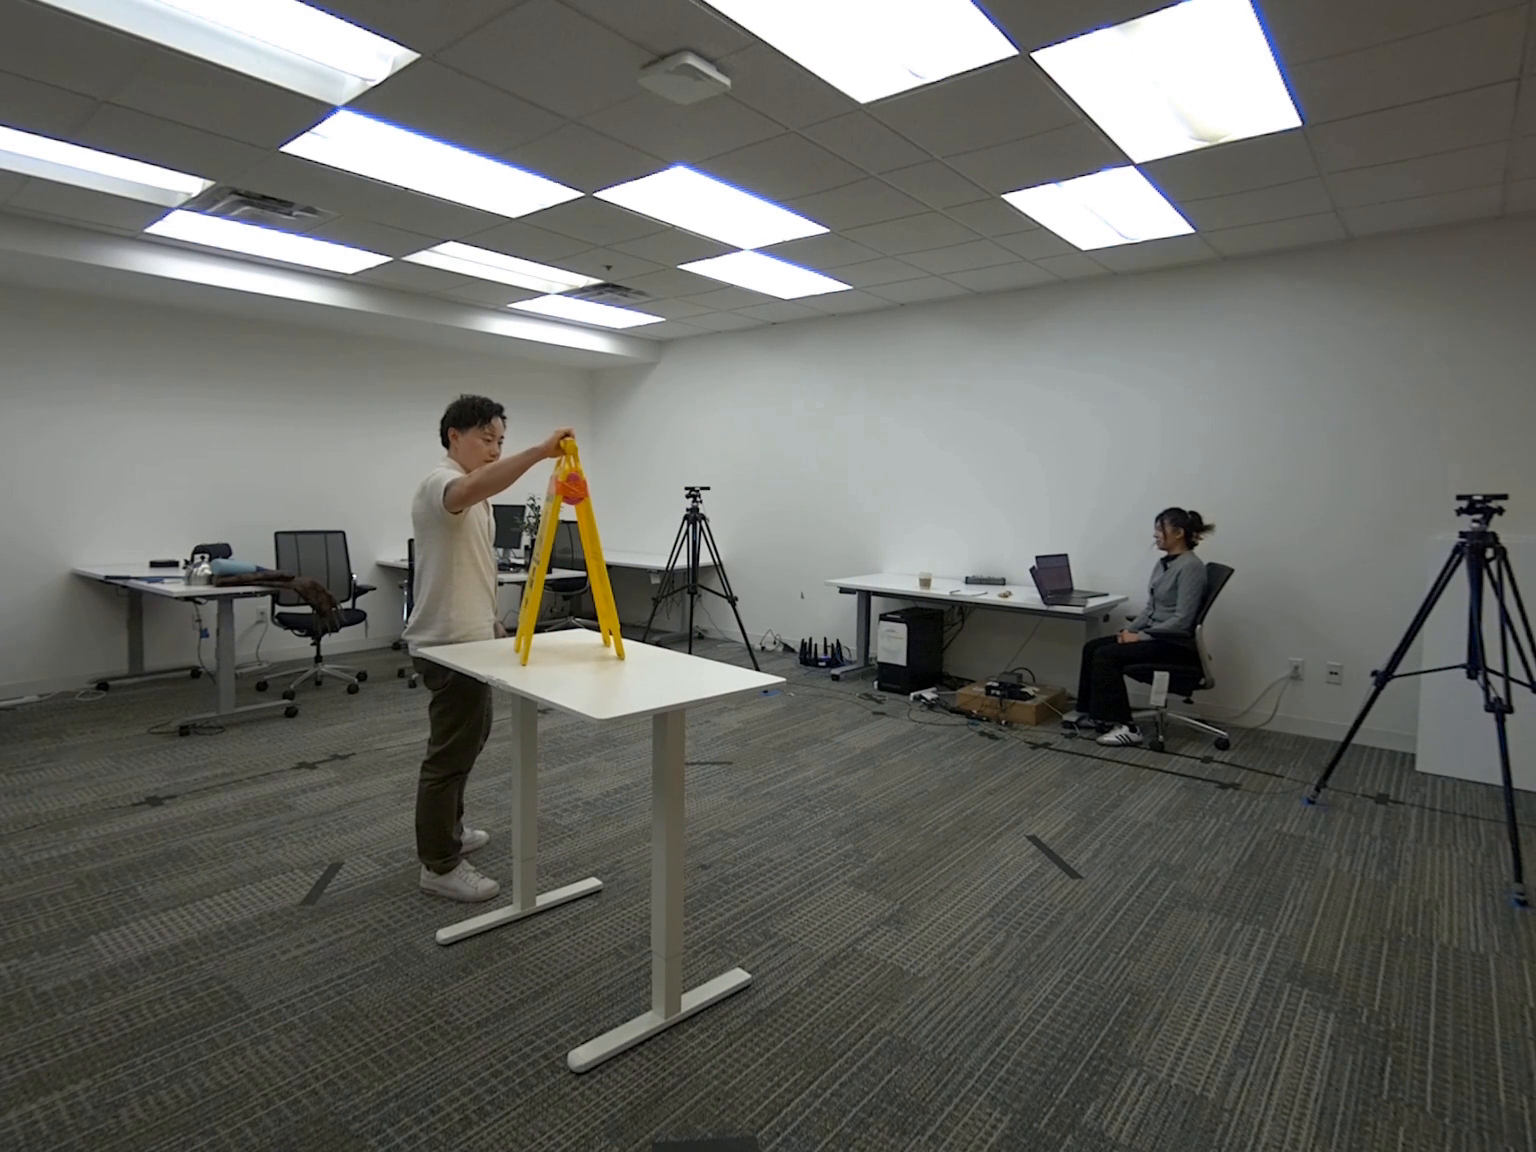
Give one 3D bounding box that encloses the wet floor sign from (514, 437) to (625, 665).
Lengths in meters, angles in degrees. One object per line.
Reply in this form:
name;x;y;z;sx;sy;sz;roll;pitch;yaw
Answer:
wet floor sign;-0.610;-0.091;2.541;0.284;0.643;0.289;0;5;-20
